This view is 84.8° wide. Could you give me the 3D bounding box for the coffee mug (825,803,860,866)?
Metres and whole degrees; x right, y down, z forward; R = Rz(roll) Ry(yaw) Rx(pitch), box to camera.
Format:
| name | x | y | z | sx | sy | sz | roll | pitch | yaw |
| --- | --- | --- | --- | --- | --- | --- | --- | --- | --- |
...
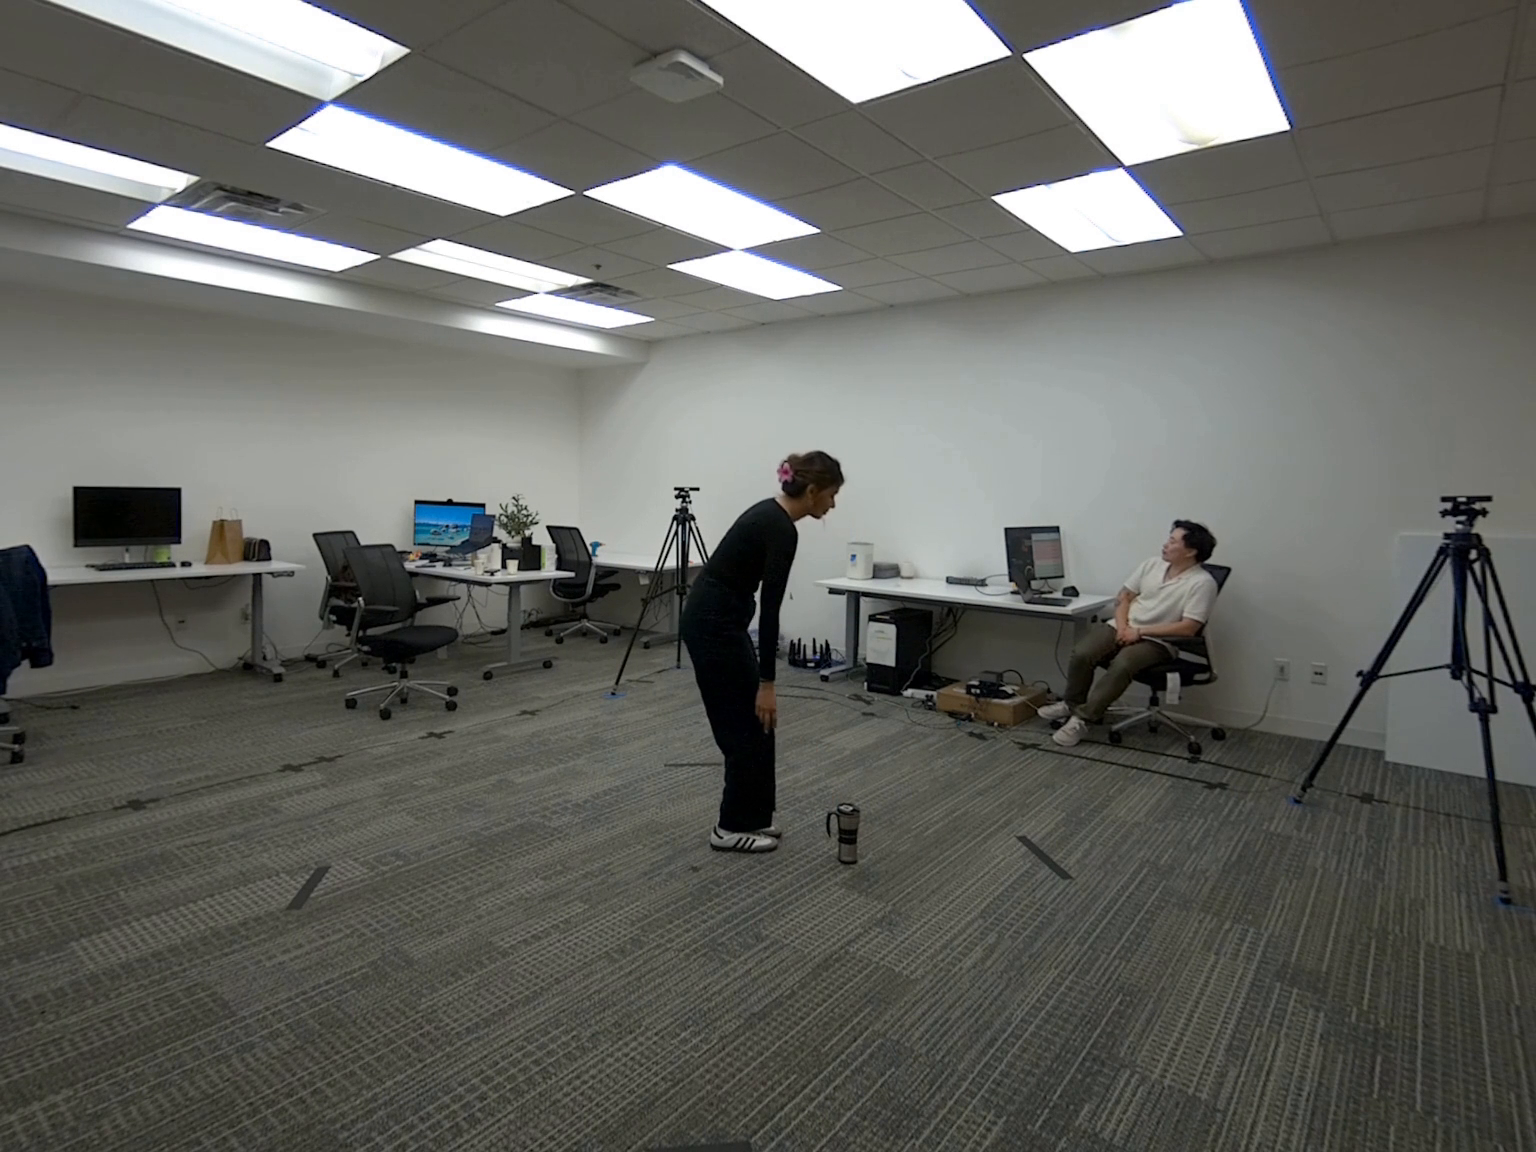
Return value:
| name | x | y | z | sx | sy | sz | roll | pitch | yaw |
| --- | --- | --- | --- | --- | --- | --- | --- | --- | --- |
| coffee mug | 0.279 | 0.972 | 3.207 | 0.126 | 0.201 | 0.085 | 9 | 10 | 37 |
